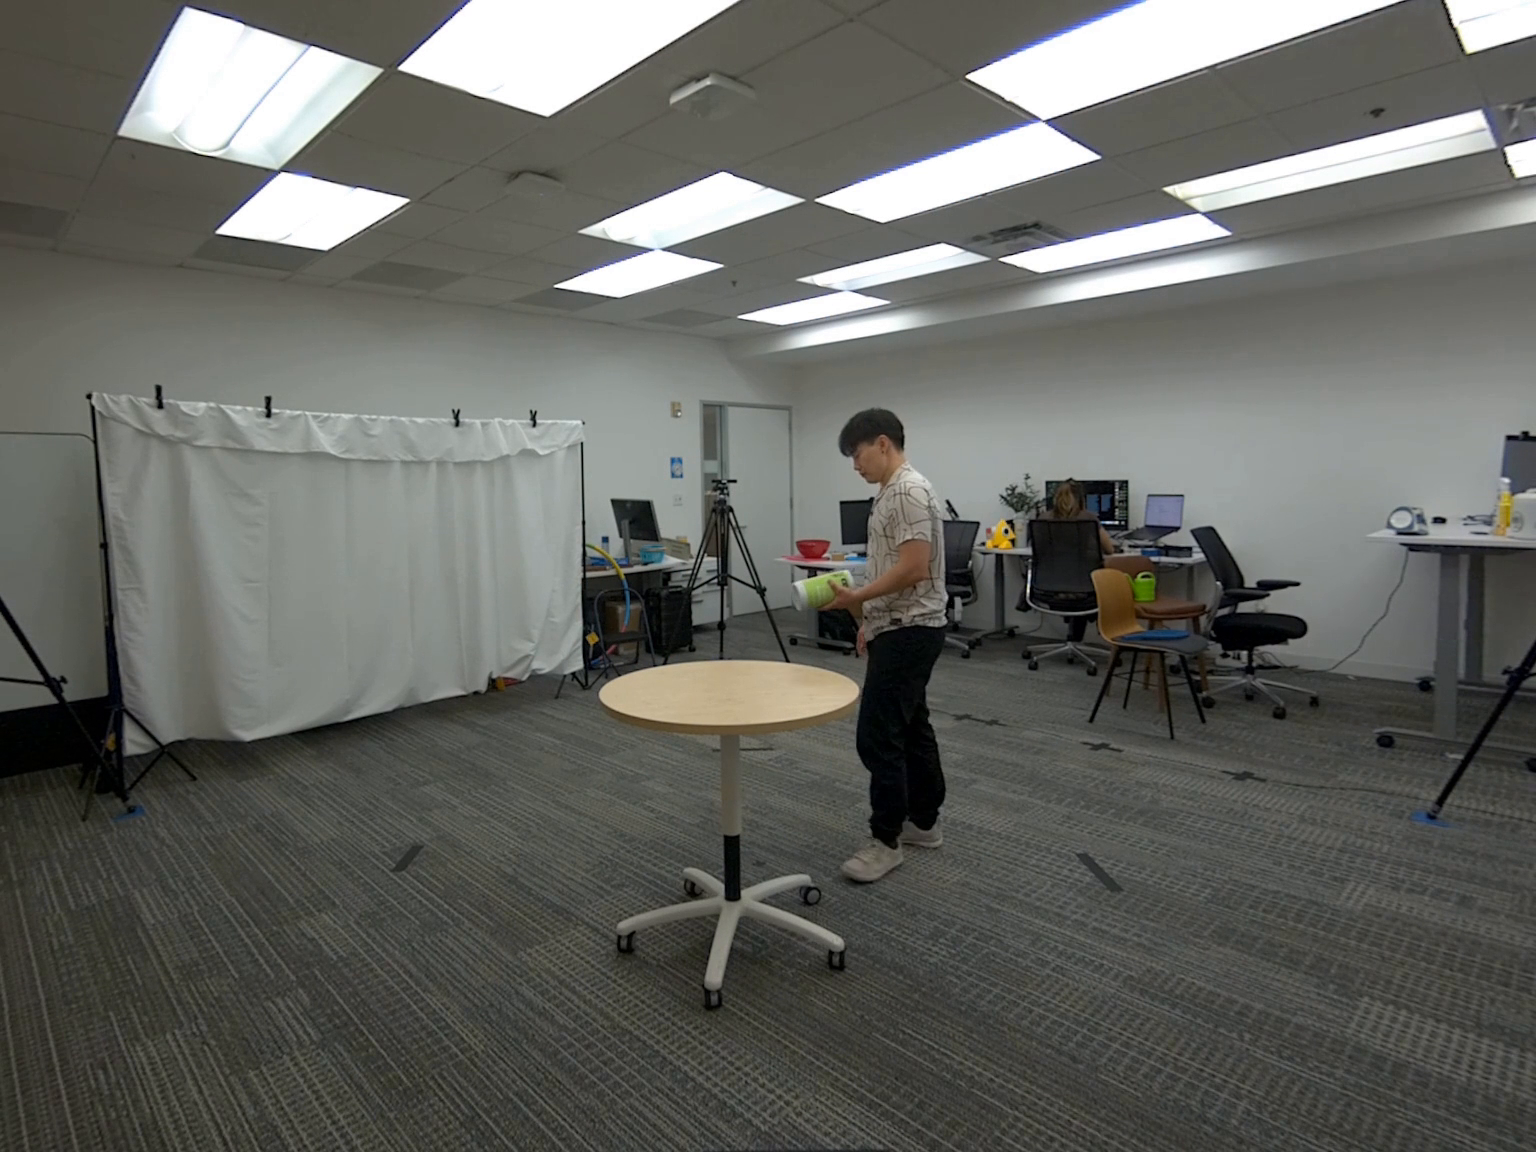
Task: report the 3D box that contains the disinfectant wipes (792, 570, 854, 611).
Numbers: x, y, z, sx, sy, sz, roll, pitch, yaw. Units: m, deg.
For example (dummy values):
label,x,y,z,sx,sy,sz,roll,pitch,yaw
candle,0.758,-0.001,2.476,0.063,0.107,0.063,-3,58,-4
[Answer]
label,x,y,z,sx,sy,sz,roll,pitch,yaw
disinfectant wipes,0.199,0.052,3.128,0.216,0.117,0.119,-11,6,-8
